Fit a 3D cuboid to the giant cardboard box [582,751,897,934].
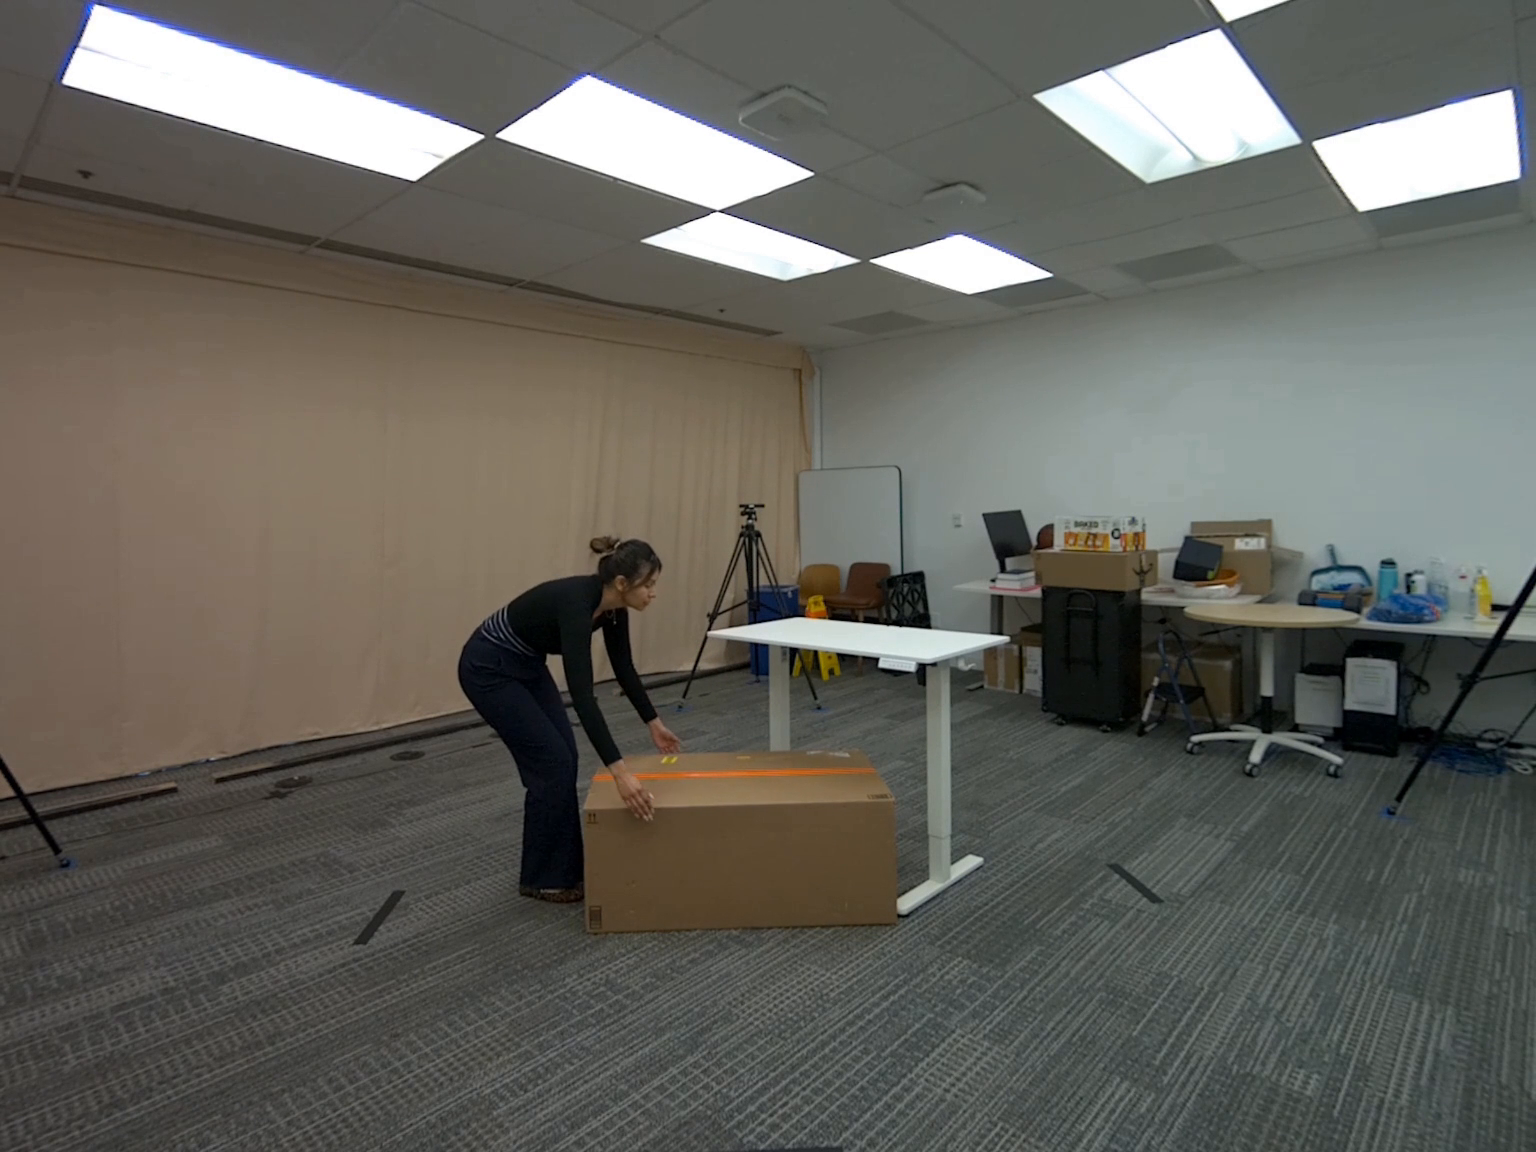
[{"bbox_3d":[-0.112,0.922,3.027,1.024,0.425,0.580,-1,3,-2],"label":"giant cardboard box"}]
